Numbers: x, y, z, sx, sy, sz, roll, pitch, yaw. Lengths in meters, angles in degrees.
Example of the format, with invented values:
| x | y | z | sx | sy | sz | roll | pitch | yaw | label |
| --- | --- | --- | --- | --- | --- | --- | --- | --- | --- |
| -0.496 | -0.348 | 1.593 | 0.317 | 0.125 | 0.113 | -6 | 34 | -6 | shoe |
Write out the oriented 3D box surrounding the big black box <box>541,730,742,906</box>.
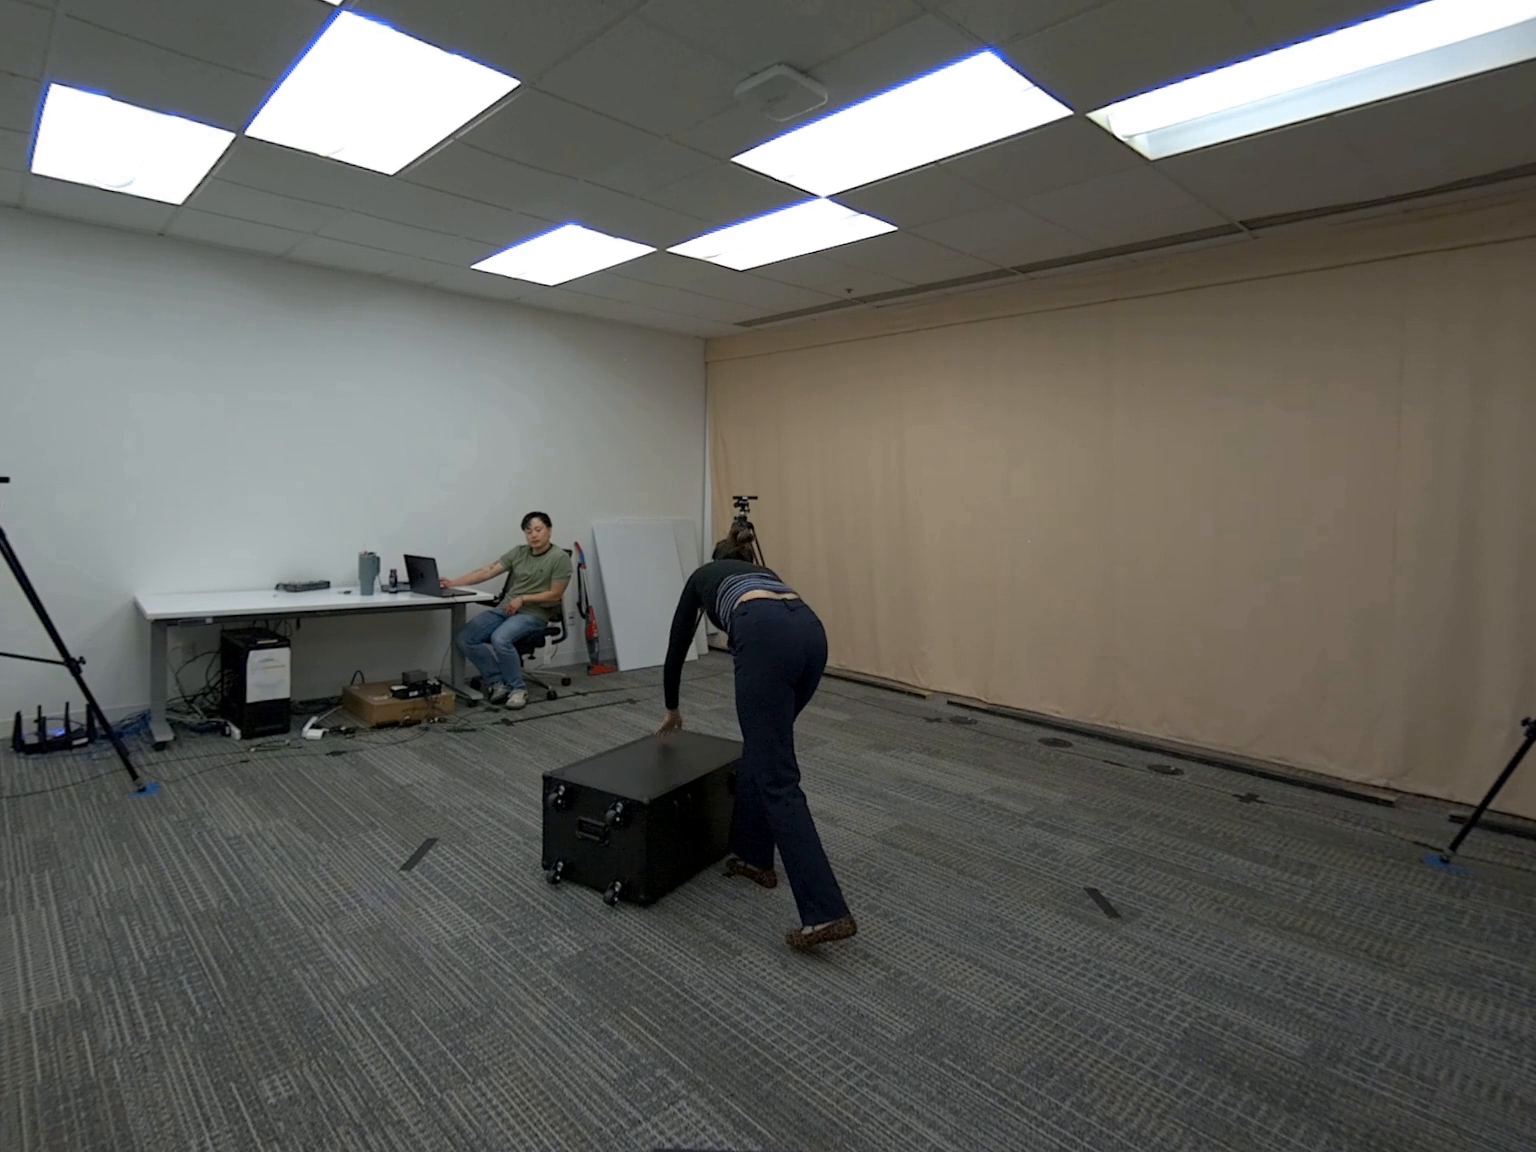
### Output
| x | y | z | sx | sy | sz | roll | pitch | yaw | label |
| --- | --- | --- | --- | --- | --- | --- | --- | --- | --- |
| -0.445 | 0.894 | 3.229 | 0.533 | 0.395 | 0.845 | 5 | 6 | 30 | big black box |
